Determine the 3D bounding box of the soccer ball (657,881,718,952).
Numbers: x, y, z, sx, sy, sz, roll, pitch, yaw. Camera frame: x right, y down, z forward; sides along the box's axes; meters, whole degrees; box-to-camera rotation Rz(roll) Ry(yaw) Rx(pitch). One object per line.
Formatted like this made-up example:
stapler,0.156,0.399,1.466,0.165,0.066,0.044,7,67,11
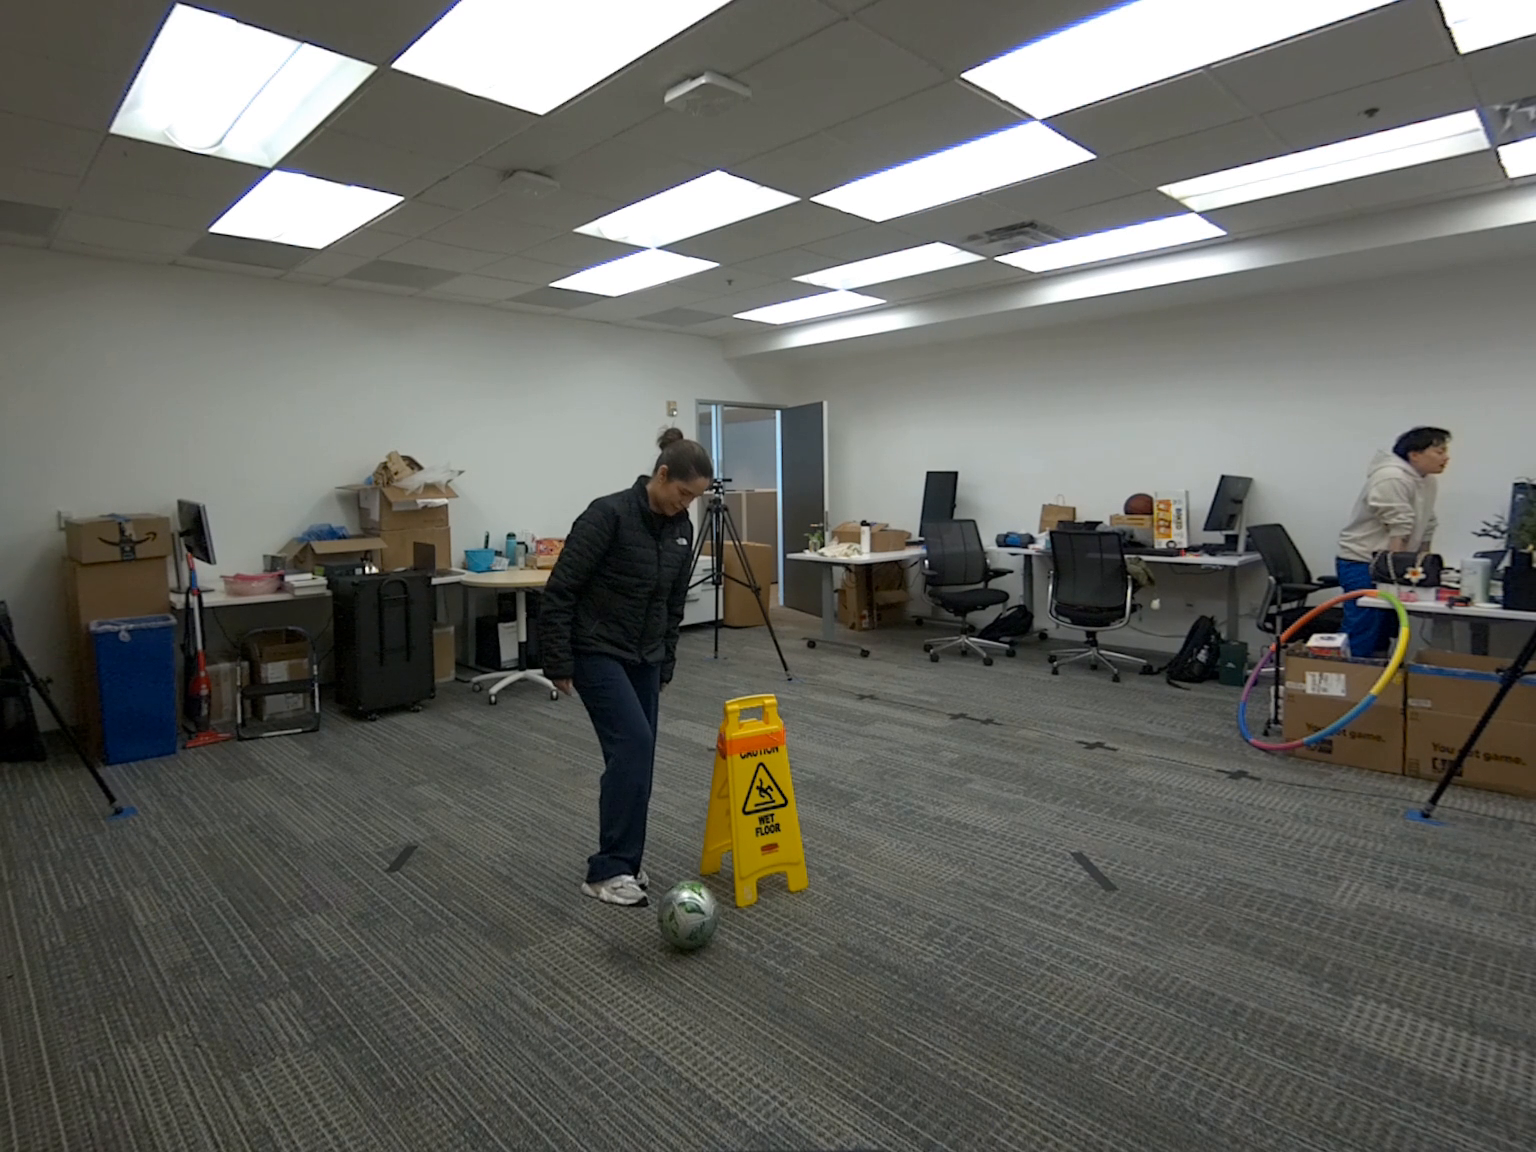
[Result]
soccer ball,-0.233,1.021,2.568,0.187,0.187,0.188,-1,5,-2
